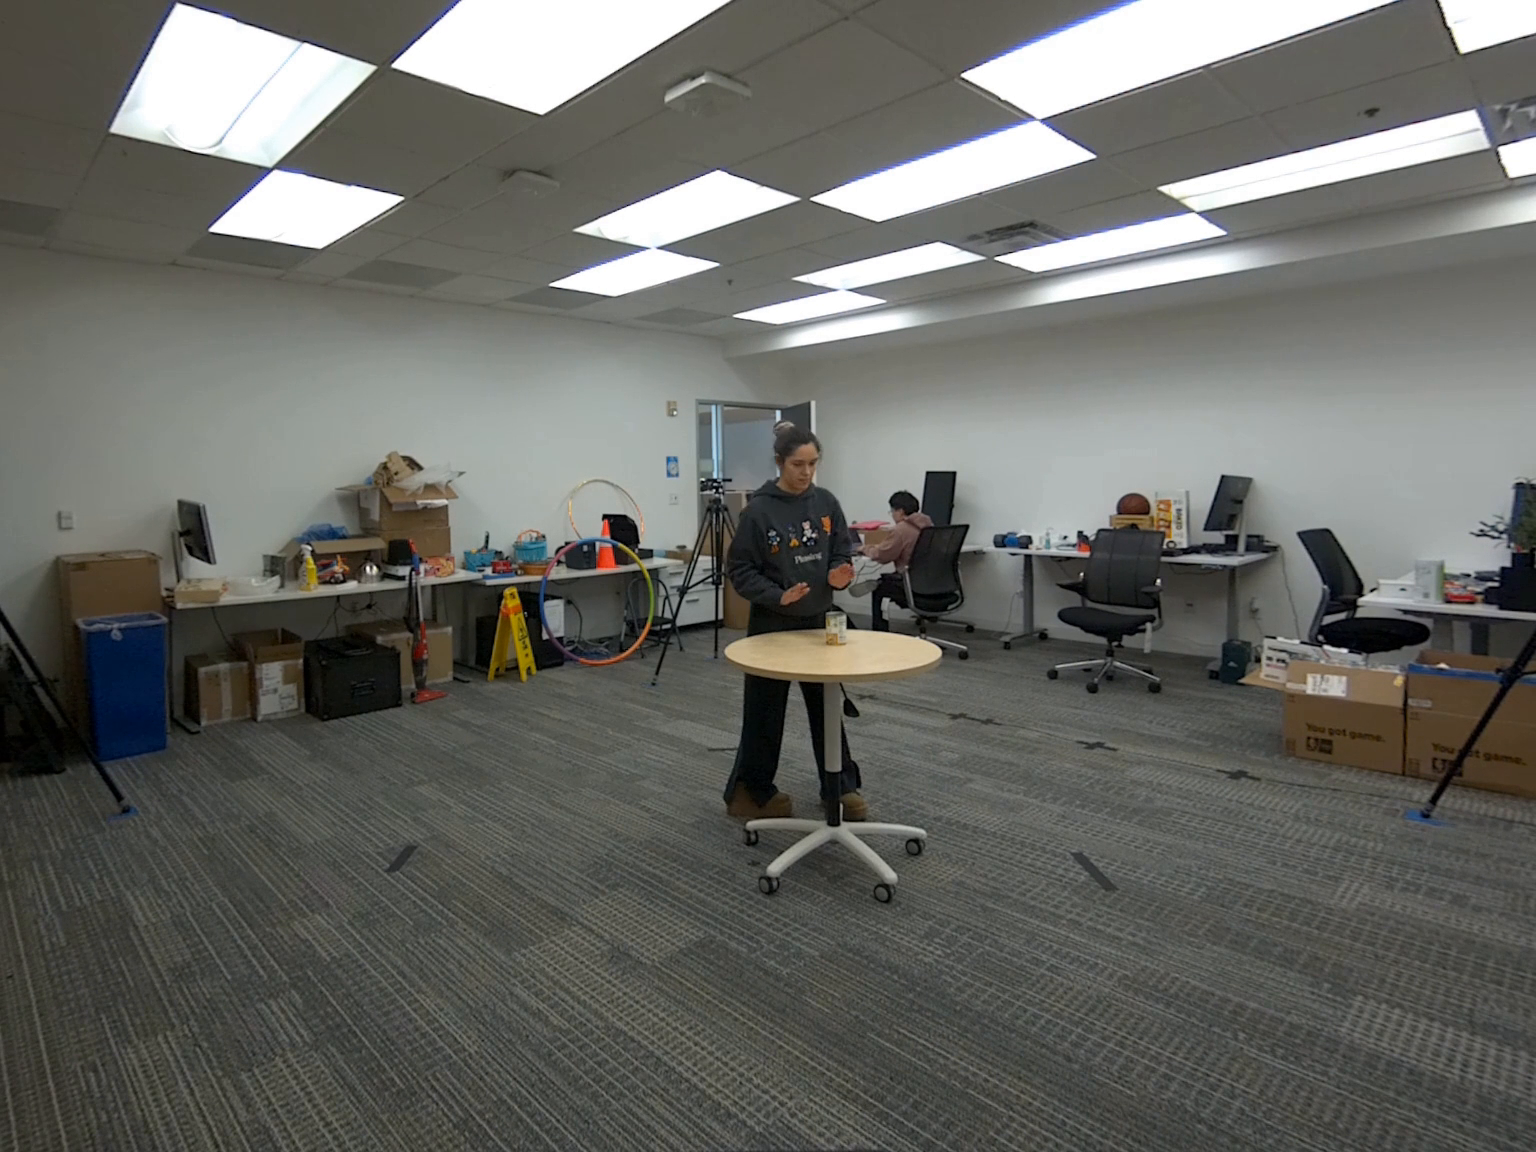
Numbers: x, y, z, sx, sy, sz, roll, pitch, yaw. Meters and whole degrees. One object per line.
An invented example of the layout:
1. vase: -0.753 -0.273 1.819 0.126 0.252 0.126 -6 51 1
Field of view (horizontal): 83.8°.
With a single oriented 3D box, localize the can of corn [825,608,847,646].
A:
1. can of corn: 0.256 0.199 3.137 0.074 0.110 0.074 1 4 -2
